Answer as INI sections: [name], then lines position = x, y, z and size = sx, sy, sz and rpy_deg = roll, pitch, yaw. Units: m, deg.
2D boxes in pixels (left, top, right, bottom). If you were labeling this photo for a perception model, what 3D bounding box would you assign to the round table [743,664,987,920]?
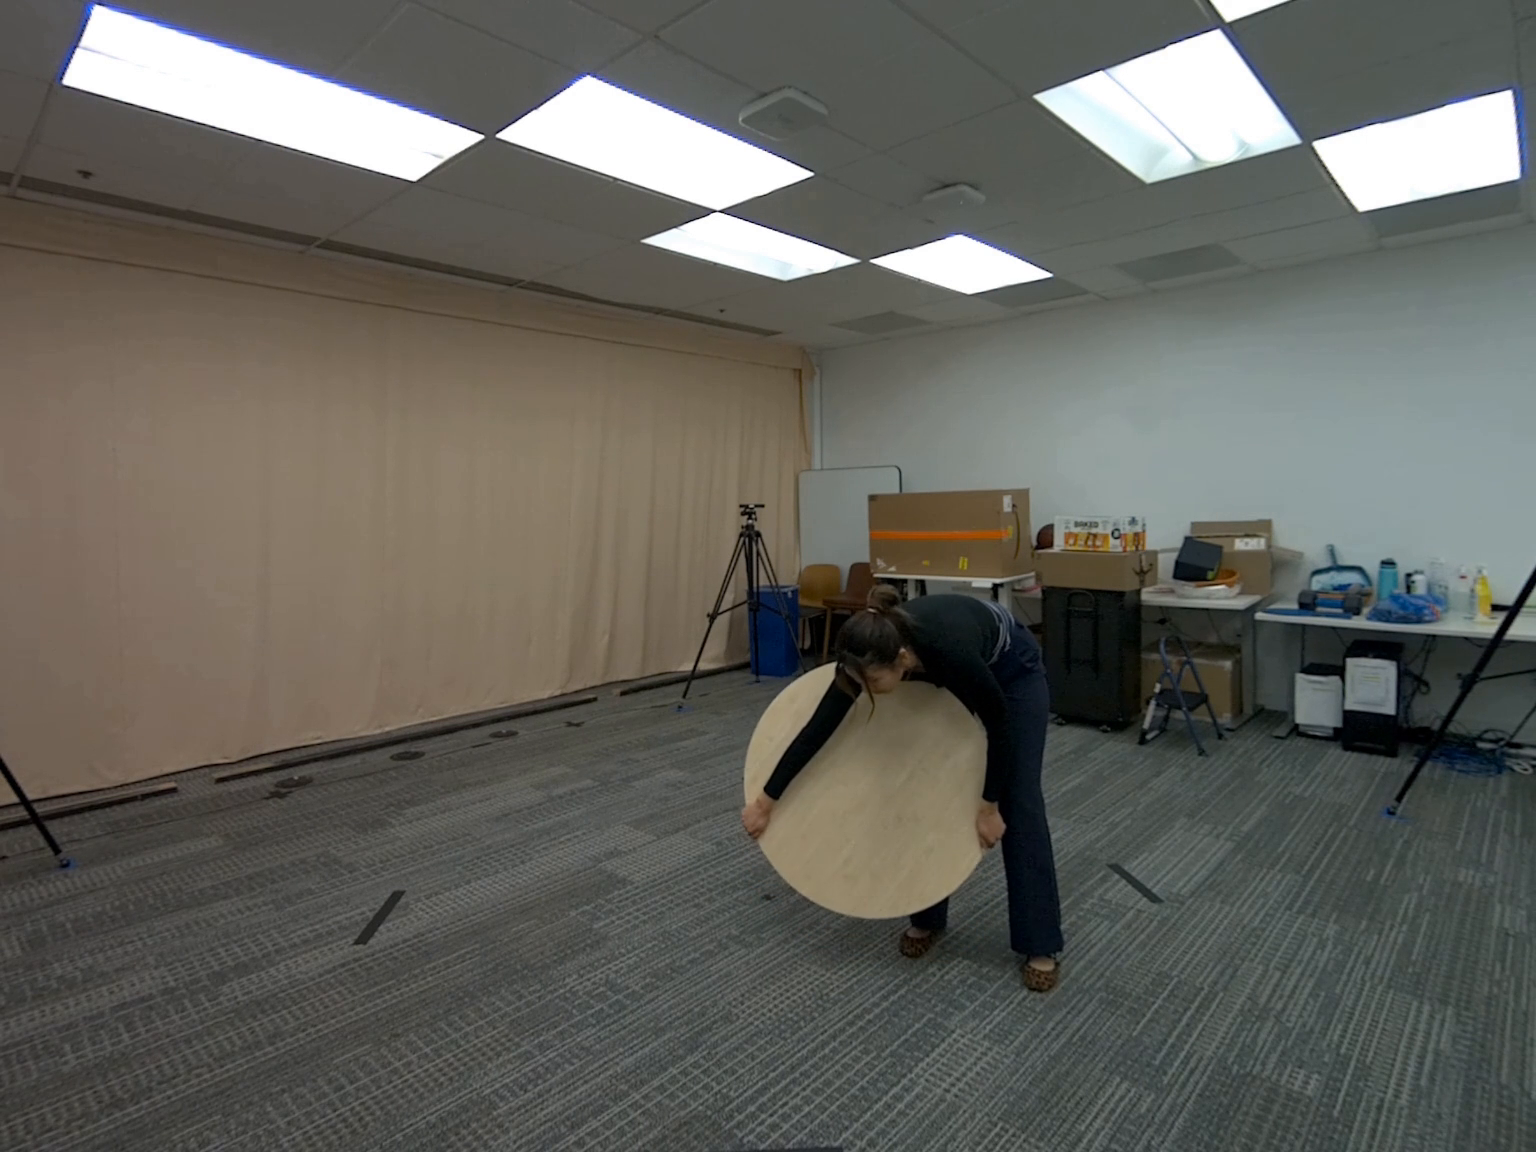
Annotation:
[round table]
position = 0.354, 0.736, 2.960
size = 0.772, 0.771, 0.779
rpy_deg = 0, -15, 9
